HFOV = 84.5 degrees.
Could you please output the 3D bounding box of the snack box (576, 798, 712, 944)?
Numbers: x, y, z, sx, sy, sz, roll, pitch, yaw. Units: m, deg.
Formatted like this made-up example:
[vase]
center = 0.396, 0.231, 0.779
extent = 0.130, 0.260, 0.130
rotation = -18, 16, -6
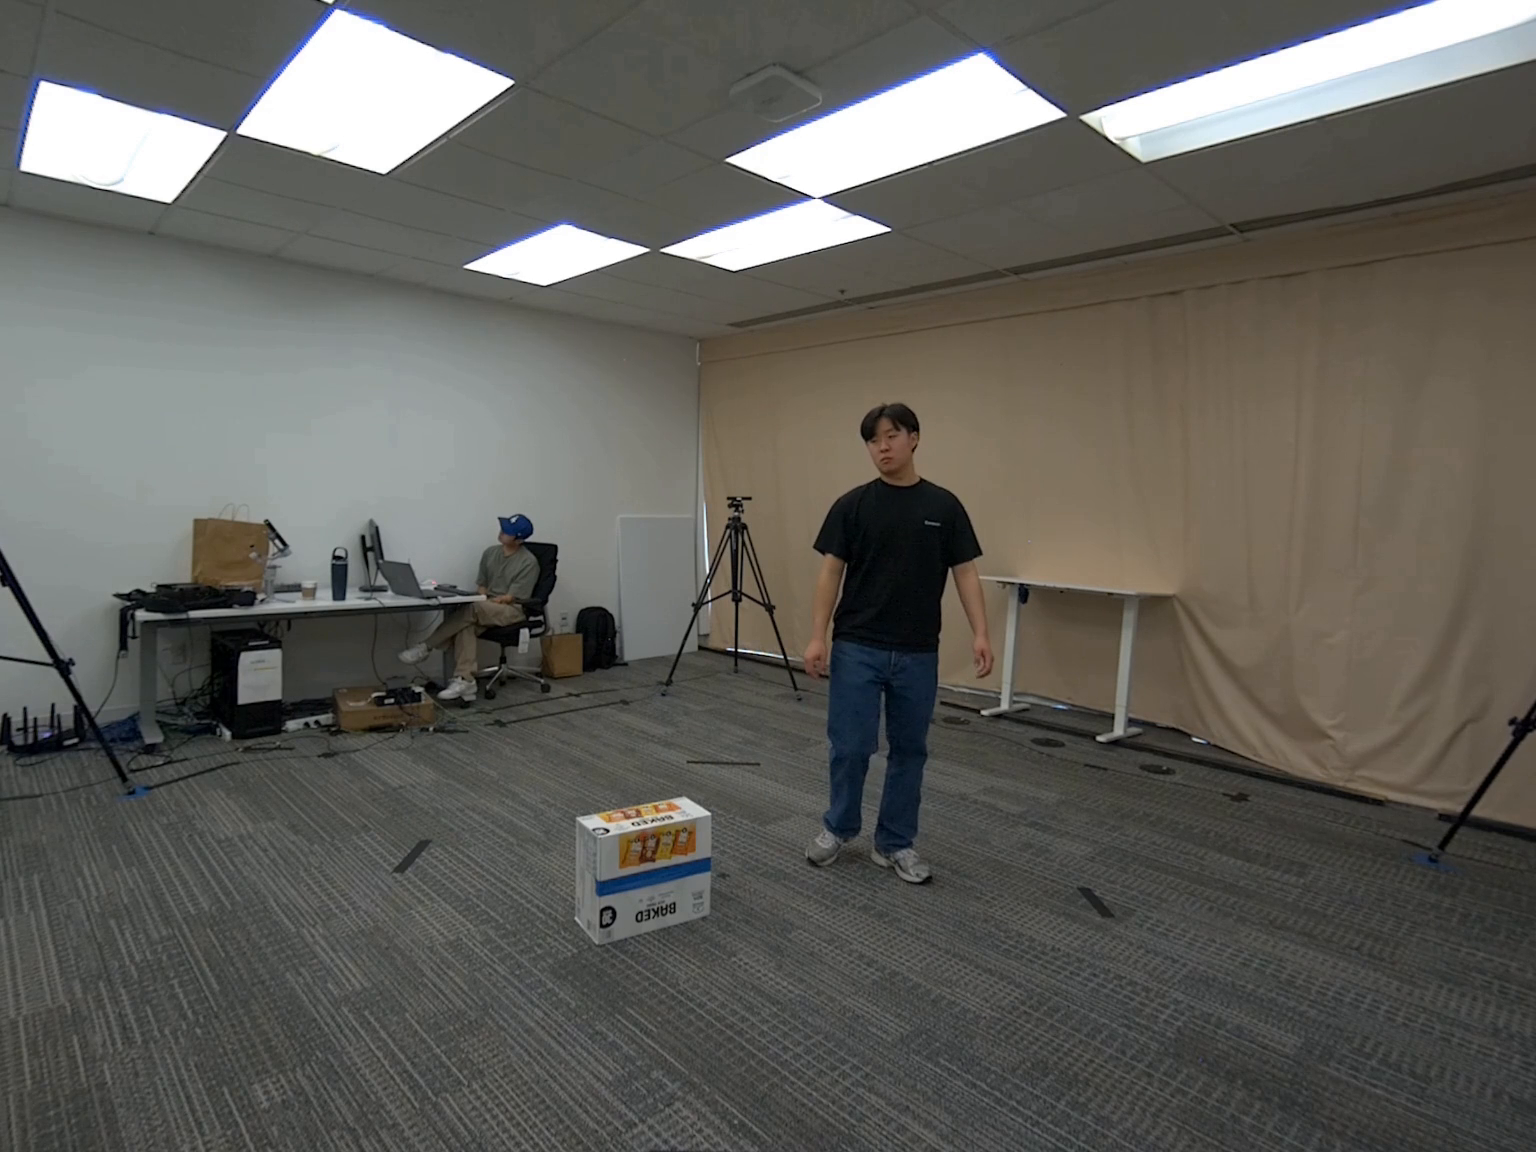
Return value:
[snack box]
center = -0.416, 0.963, 2.777
extent = 0.396, 0.340, 0.210
rotation = -1, 3, -32
